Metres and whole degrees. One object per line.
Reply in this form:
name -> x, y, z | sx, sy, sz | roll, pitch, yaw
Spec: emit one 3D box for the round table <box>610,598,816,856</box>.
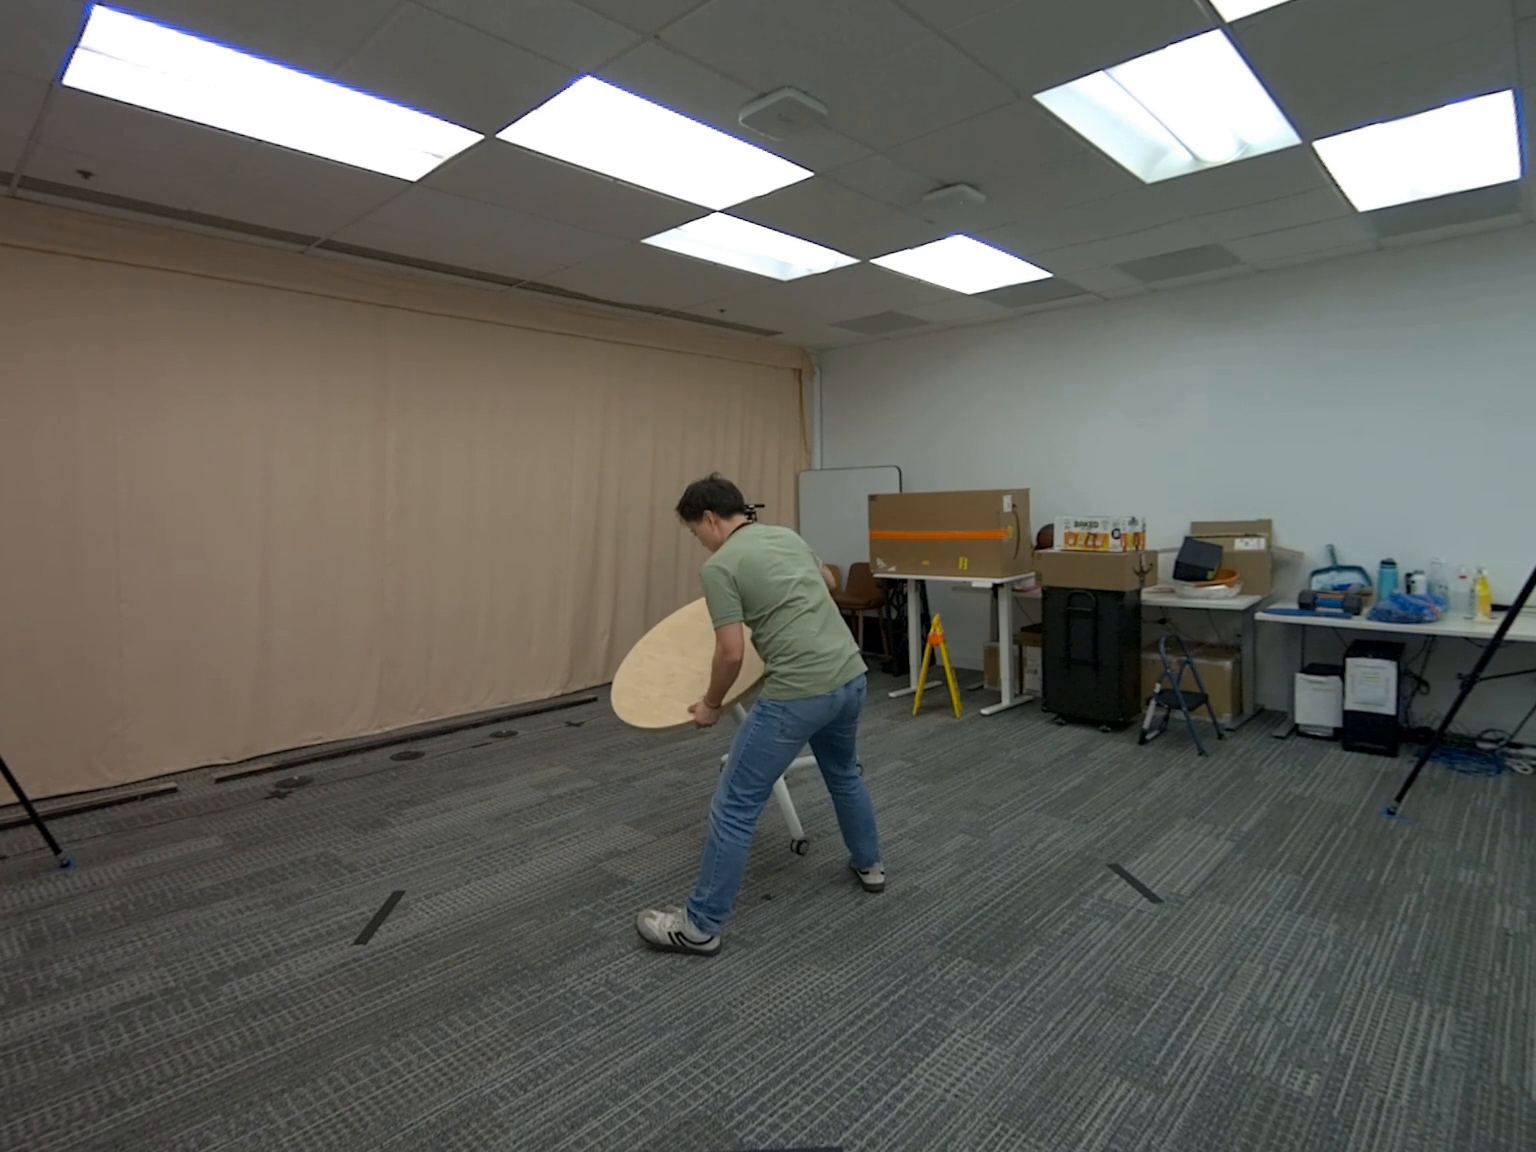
round table -> -0.086, 0.595, 3.359 | 0.770, 0.774, 0.777 | -23, 27, 11
